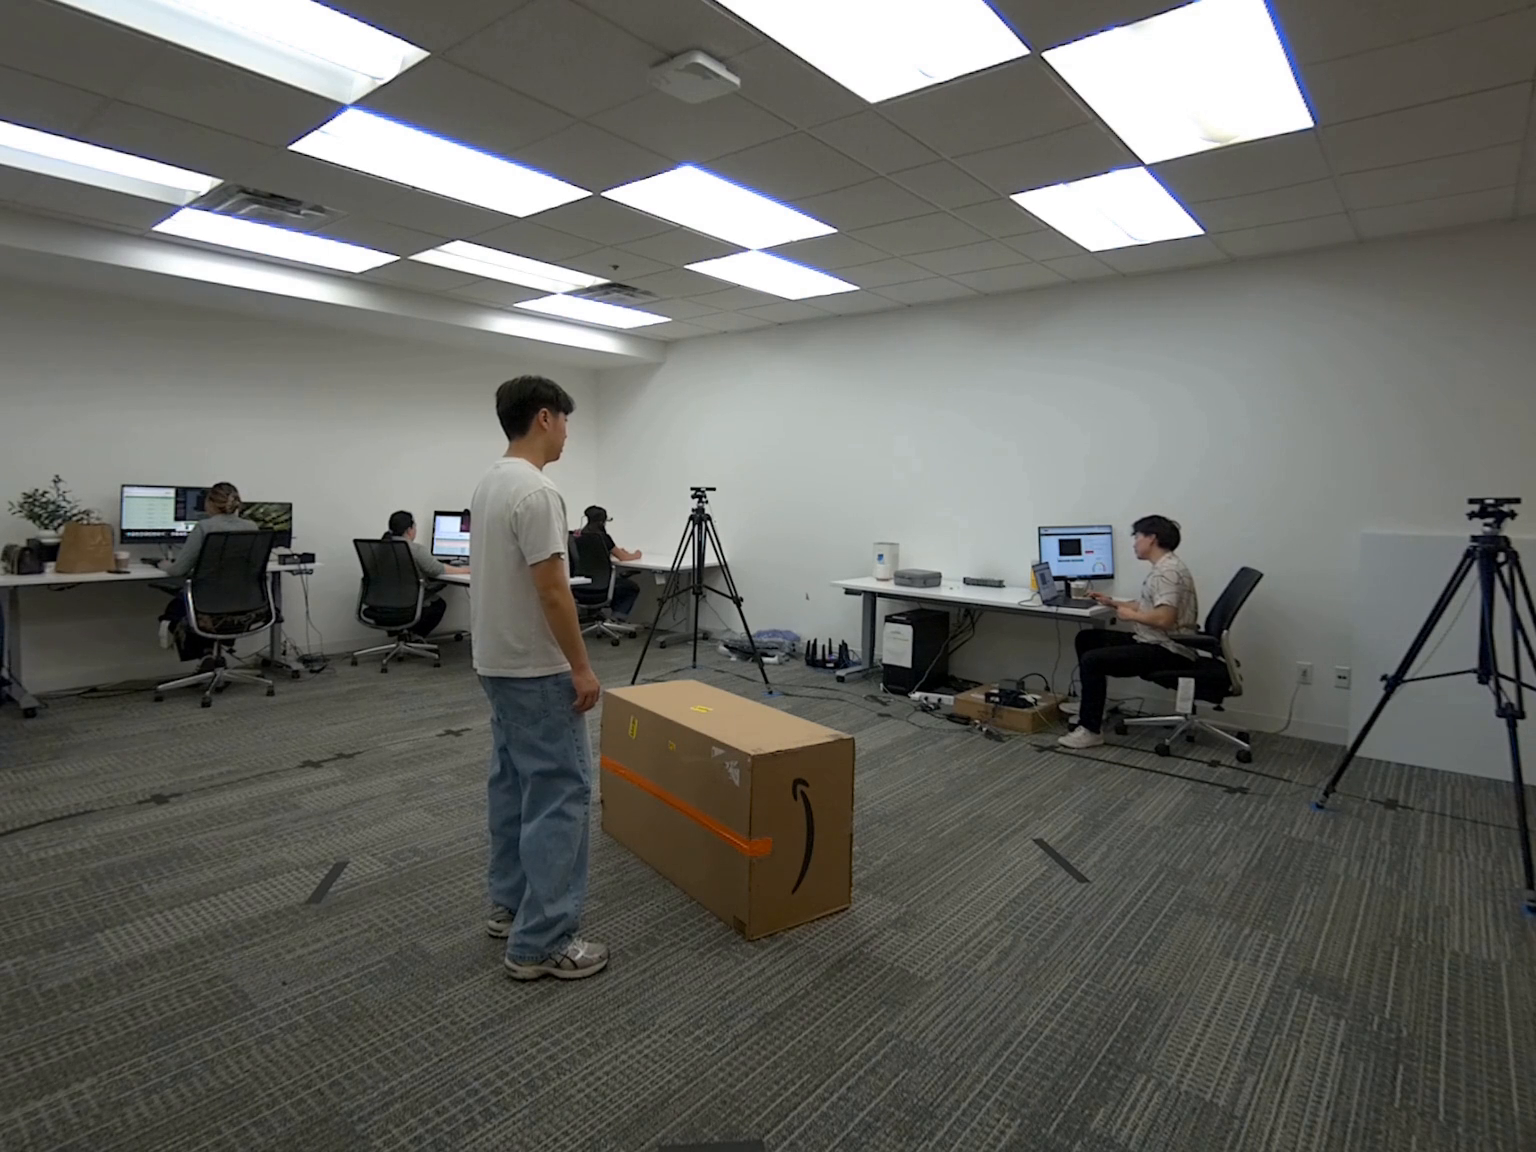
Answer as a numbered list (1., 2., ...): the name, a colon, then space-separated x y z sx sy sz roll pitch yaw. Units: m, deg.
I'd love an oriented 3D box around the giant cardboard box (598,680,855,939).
1. giant cardboard box: -0.203 0.775 3.123 0.414 0.576 1.060 -1 5 -36
